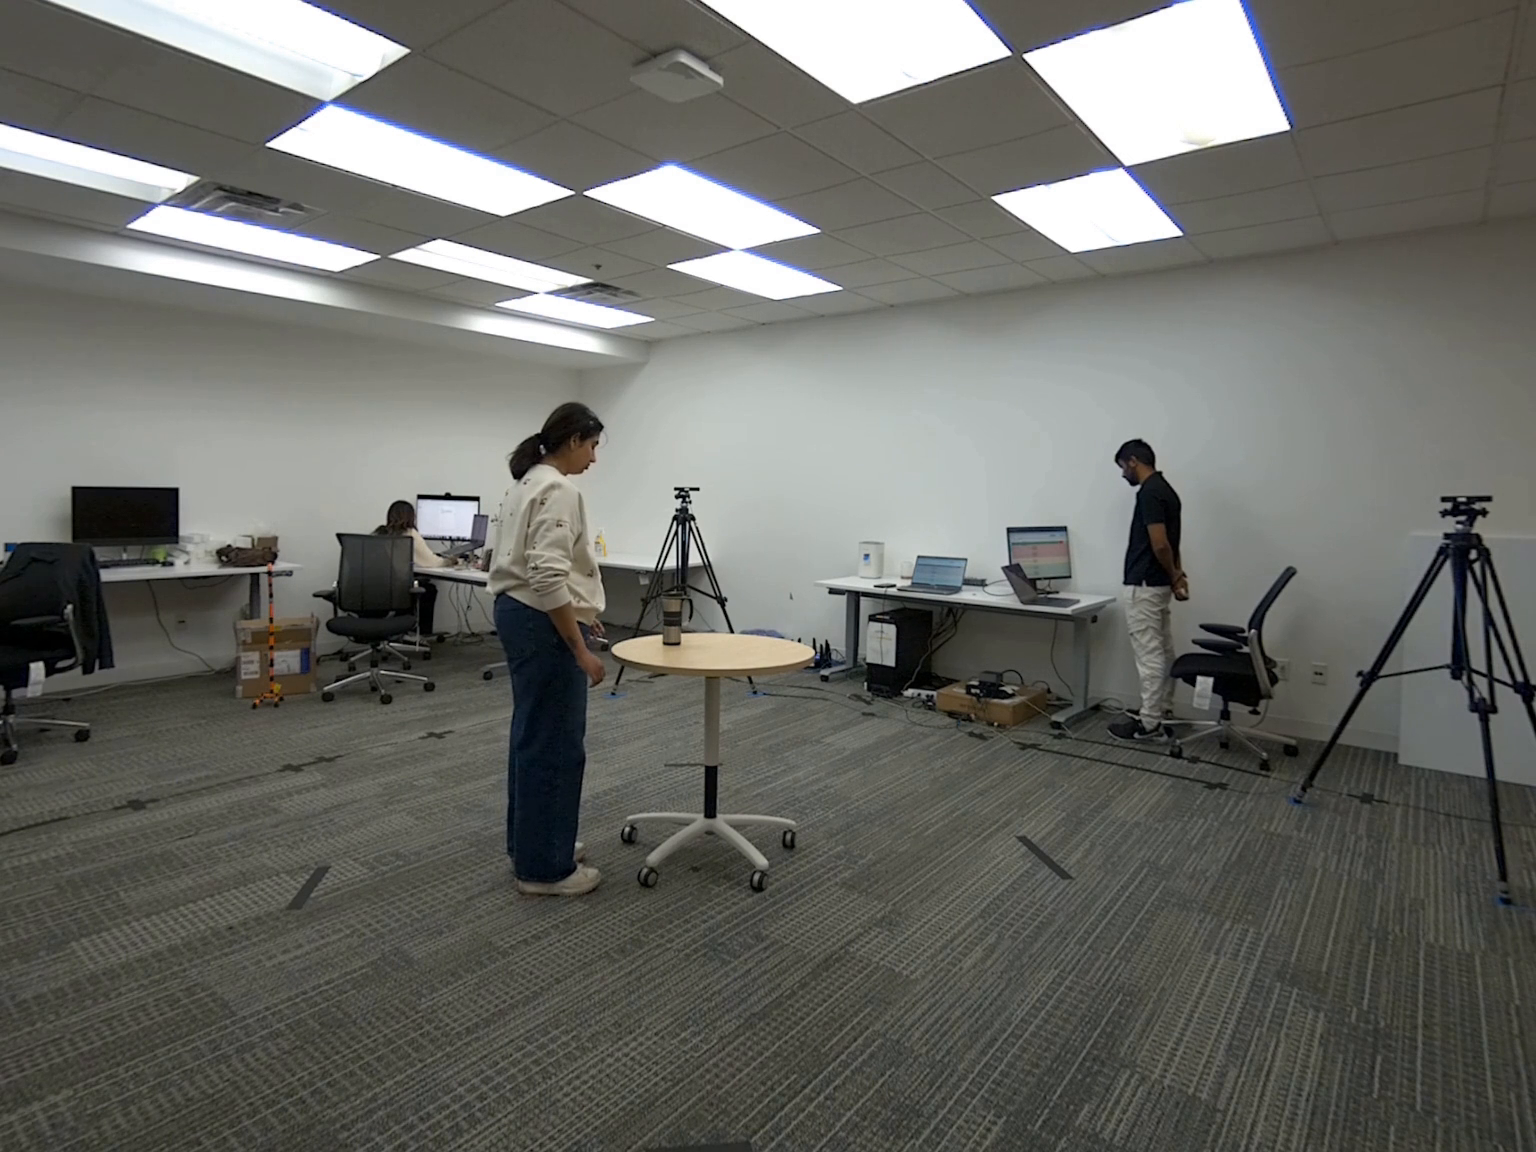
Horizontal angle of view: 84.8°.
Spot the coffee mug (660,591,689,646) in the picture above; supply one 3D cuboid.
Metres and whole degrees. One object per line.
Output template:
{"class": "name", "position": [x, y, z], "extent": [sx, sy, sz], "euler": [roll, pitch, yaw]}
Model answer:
{"class": "coffee mug", "position": [-0.365, 0.167, 3.291], "extent": [0.125, 0.203, 0.085], "euler": [-1, -1, 30]}
